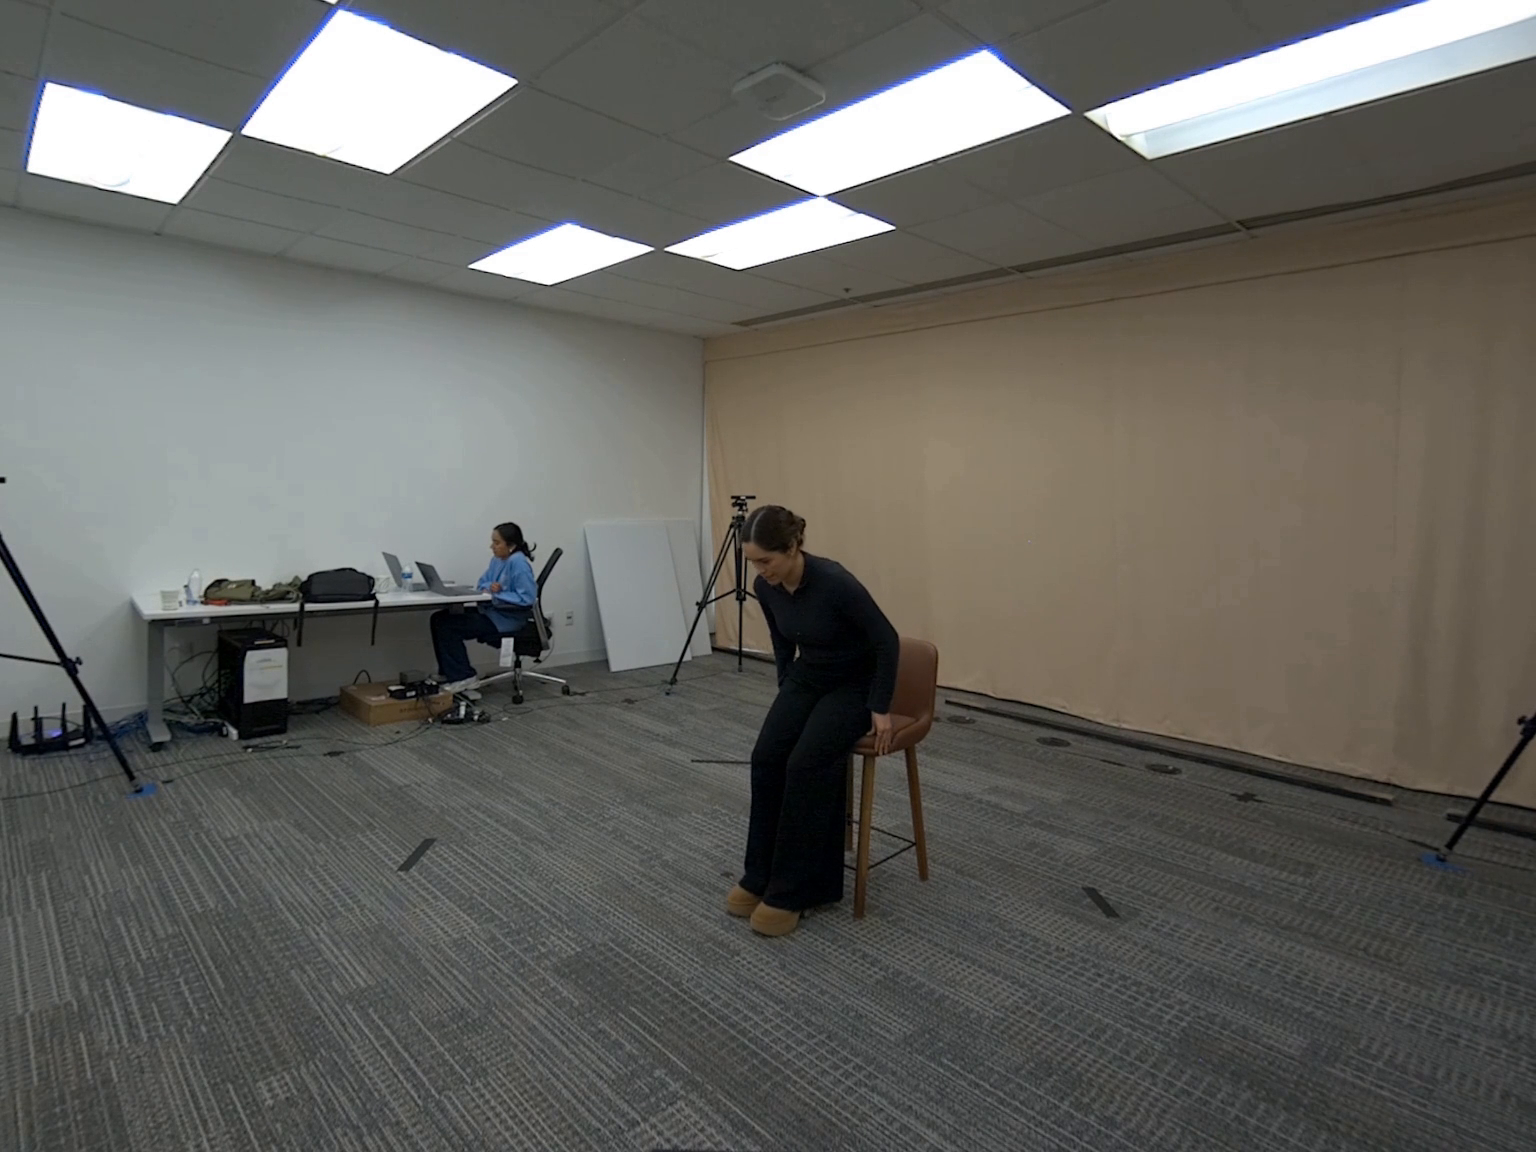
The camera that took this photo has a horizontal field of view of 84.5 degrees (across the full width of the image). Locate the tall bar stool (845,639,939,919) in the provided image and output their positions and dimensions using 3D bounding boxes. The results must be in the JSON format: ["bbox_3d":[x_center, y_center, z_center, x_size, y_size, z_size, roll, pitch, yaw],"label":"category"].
[{"bbox_3d":[0.323,0.680,3.065,0.468,0.888,0.456,5,3,44],"label":"tall bar stool"}]
